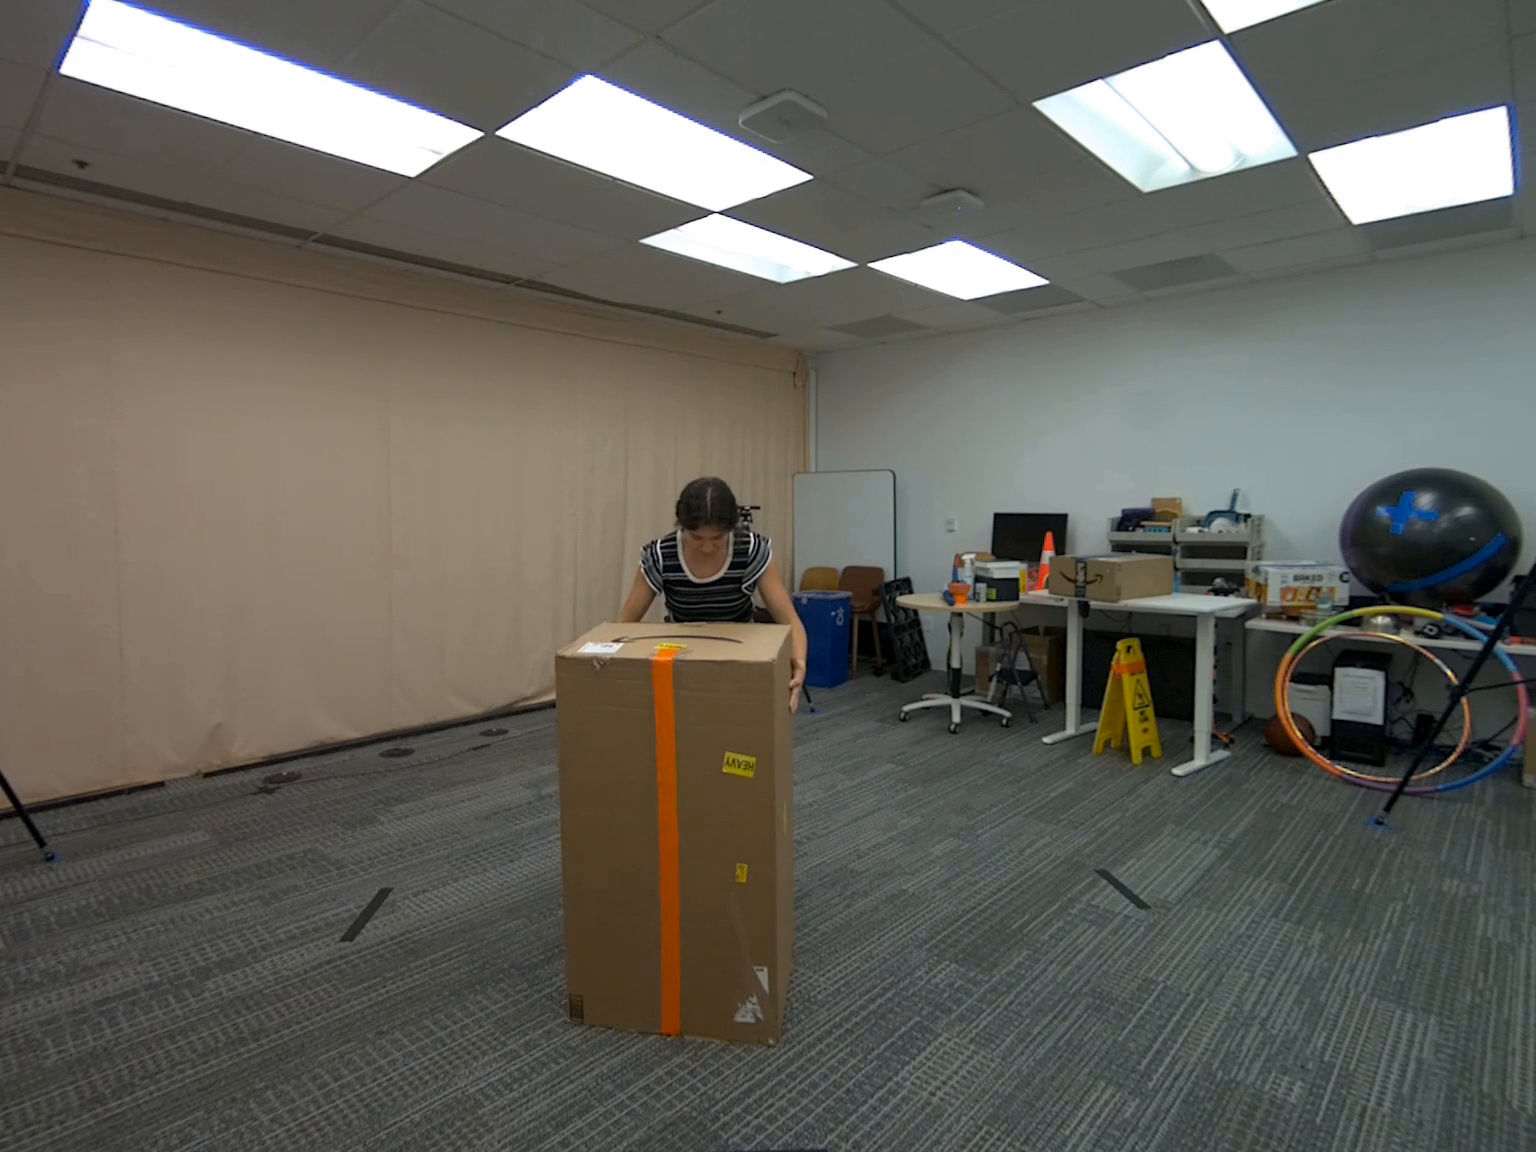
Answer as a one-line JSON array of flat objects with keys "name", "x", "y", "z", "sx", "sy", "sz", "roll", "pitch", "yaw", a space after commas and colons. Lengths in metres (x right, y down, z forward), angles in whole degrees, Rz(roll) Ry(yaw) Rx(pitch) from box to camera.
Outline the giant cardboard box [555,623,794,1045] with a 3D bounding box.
[{"name": "giant cardboard box", "x": -0.233, "y": 0.678, "z": 2.364, "sx": 0.584, "sy": 1.021, "sz": 0.423, "roll": 1, "pitch": 6, "yaw": 10}]
